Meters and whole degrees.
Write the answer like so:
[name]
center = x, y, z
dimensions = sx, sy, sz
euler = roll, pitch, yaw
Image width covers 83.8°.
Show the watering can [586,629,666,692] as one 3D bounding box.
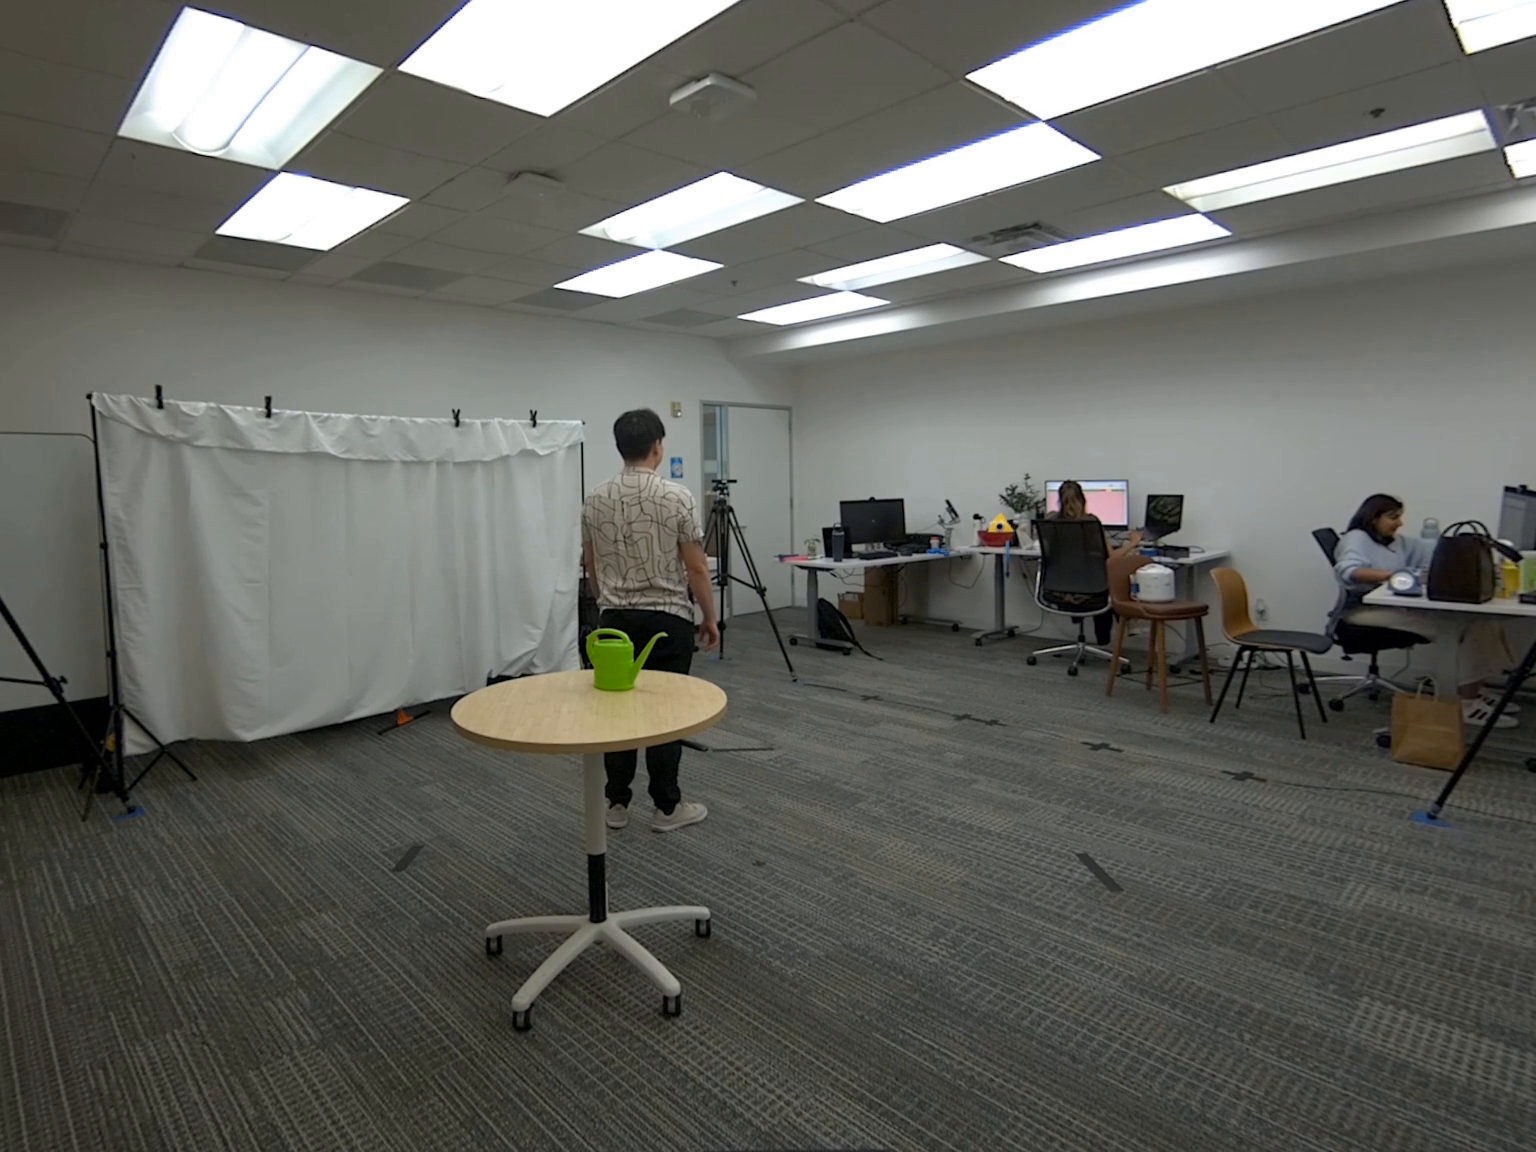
[watering can]
center = -0.434, 0.253, 2.534
dimensions = 0.286, 0.176, 0.096
euler = 2, 7, 37
